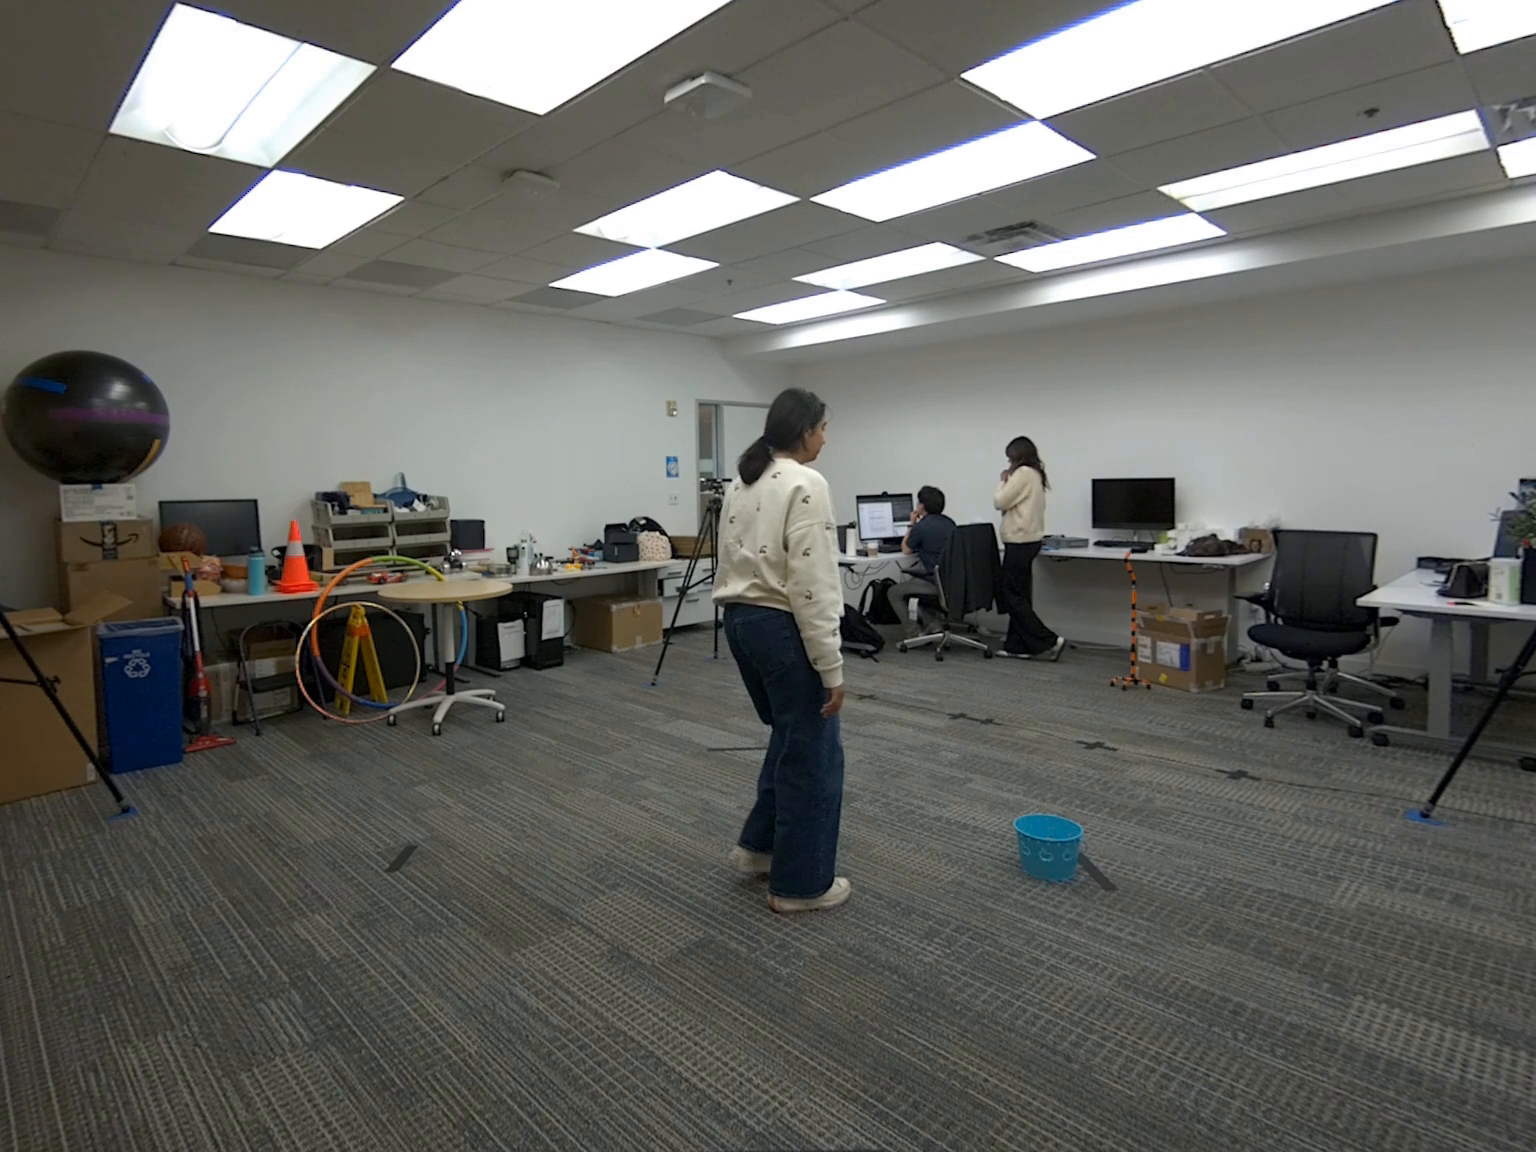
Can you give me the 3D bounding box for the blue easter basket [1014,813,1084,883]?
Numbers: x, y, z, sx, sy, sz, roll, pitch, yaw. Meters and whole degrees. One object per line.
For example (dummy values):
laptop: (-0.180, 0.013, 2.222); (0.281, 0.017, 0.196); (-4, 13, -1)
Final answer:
blue easter basket: (0.986, 0.958, 3.021); (0.243, 0.155, 0.245); (-1, 5, -2)
